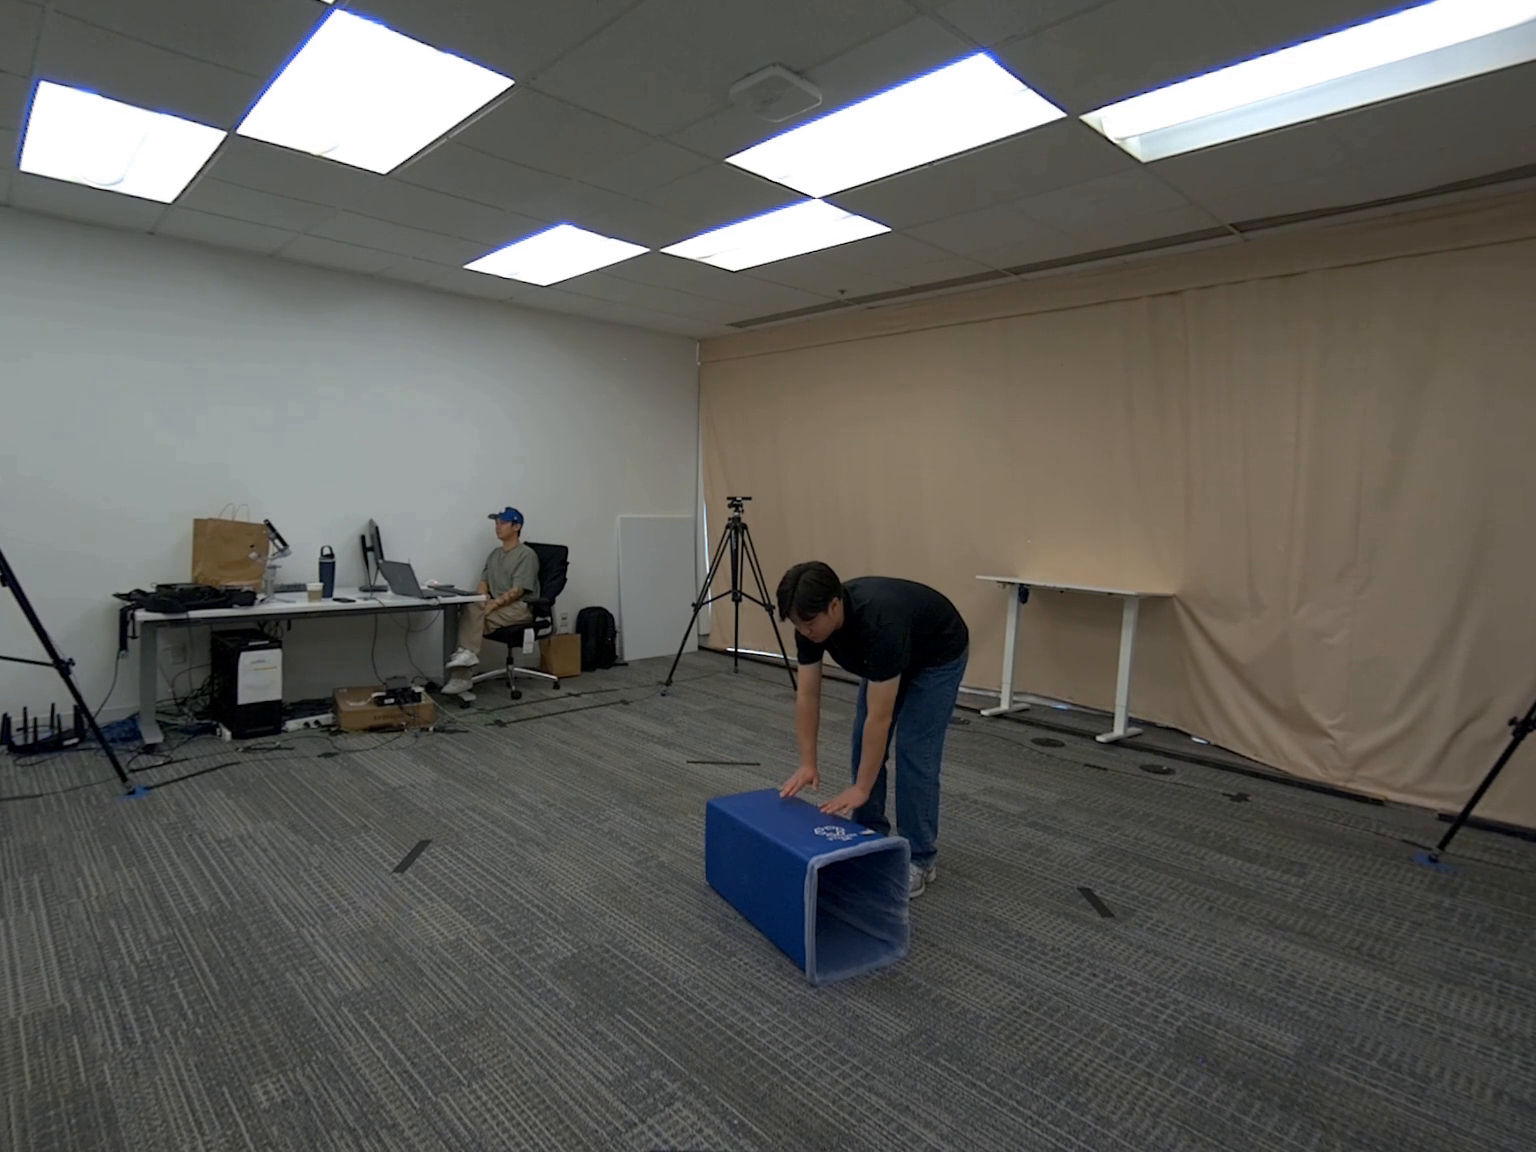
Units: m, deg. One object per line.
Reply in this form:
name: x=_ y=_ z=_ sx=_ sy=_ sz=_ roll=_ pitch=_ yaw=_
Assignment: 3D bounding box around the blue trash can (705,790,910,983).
blue trash can: x=0.083 y=0.974 z=2.784 sx=0.366 sy=0.378 sz=0.729 roll=-1 pitch=2 yaw=-32
